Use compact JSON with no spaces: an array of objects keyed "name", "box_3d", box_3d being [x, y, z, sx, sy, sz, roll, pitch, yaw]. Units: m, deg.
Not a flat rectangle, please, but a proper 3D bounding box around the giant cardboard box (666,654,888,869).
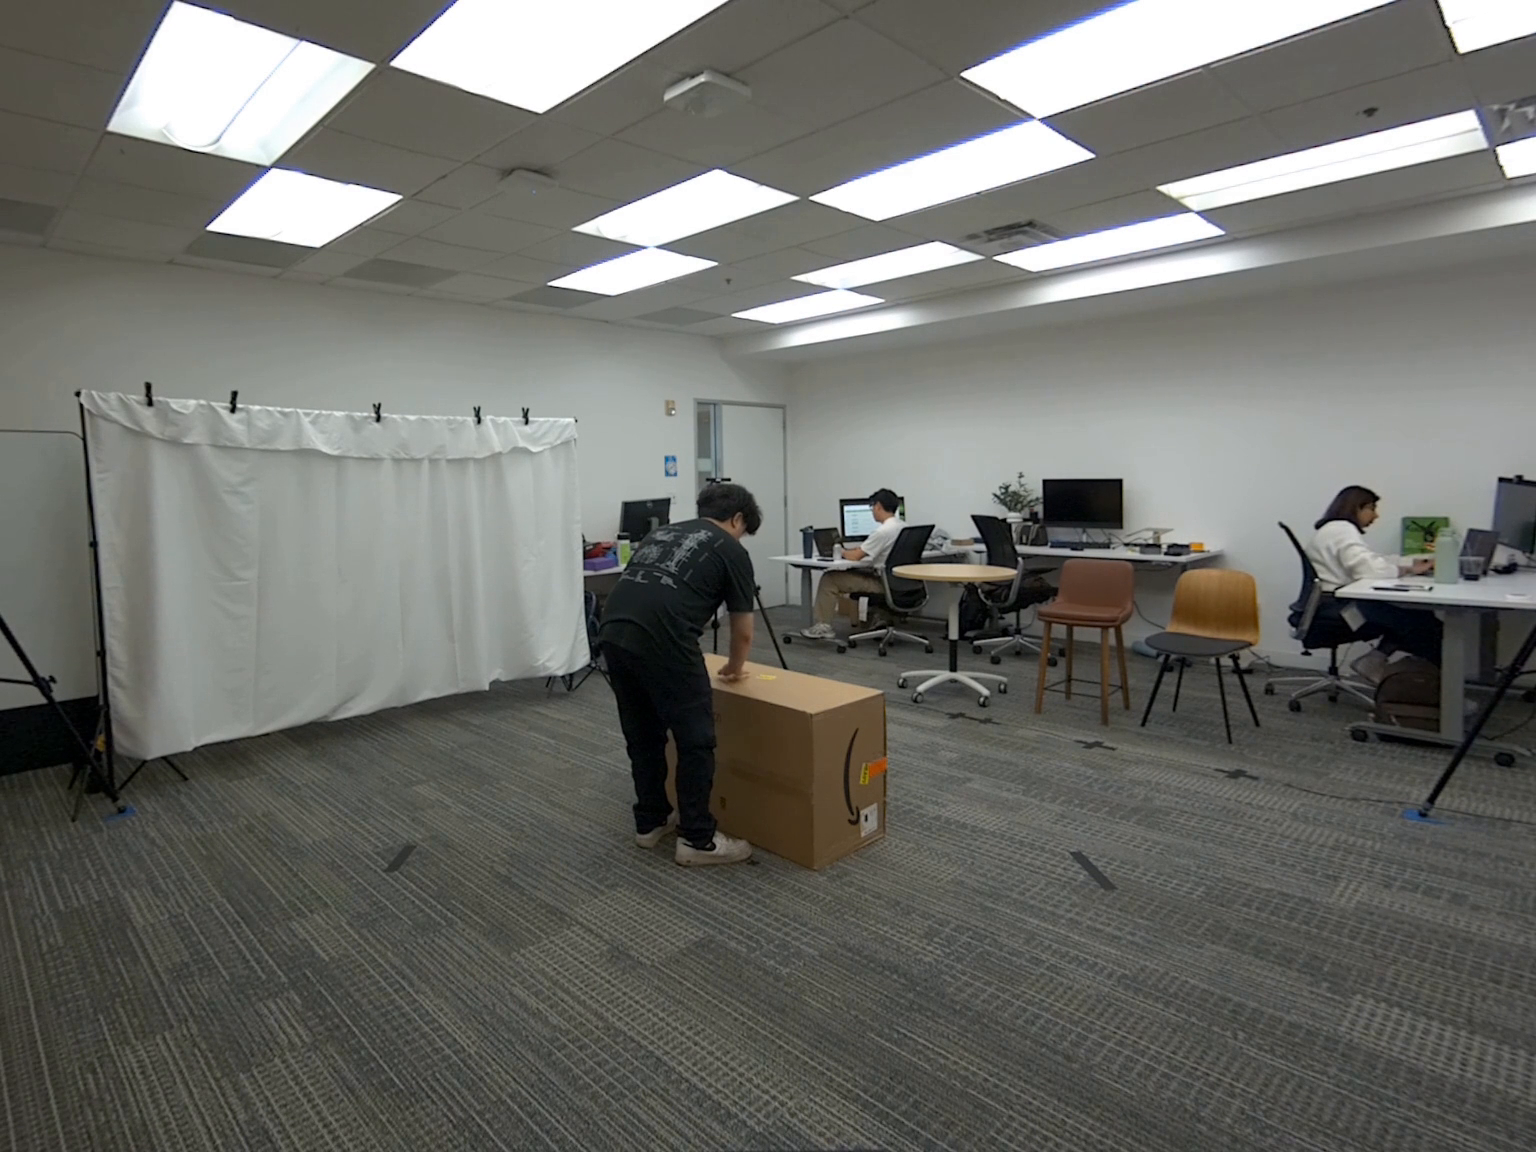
[{"name":"giant cardboard box","box_3d":[-0.055,0.708,3.531,0.435,0.582,1.059,-4,7,-44]}]
